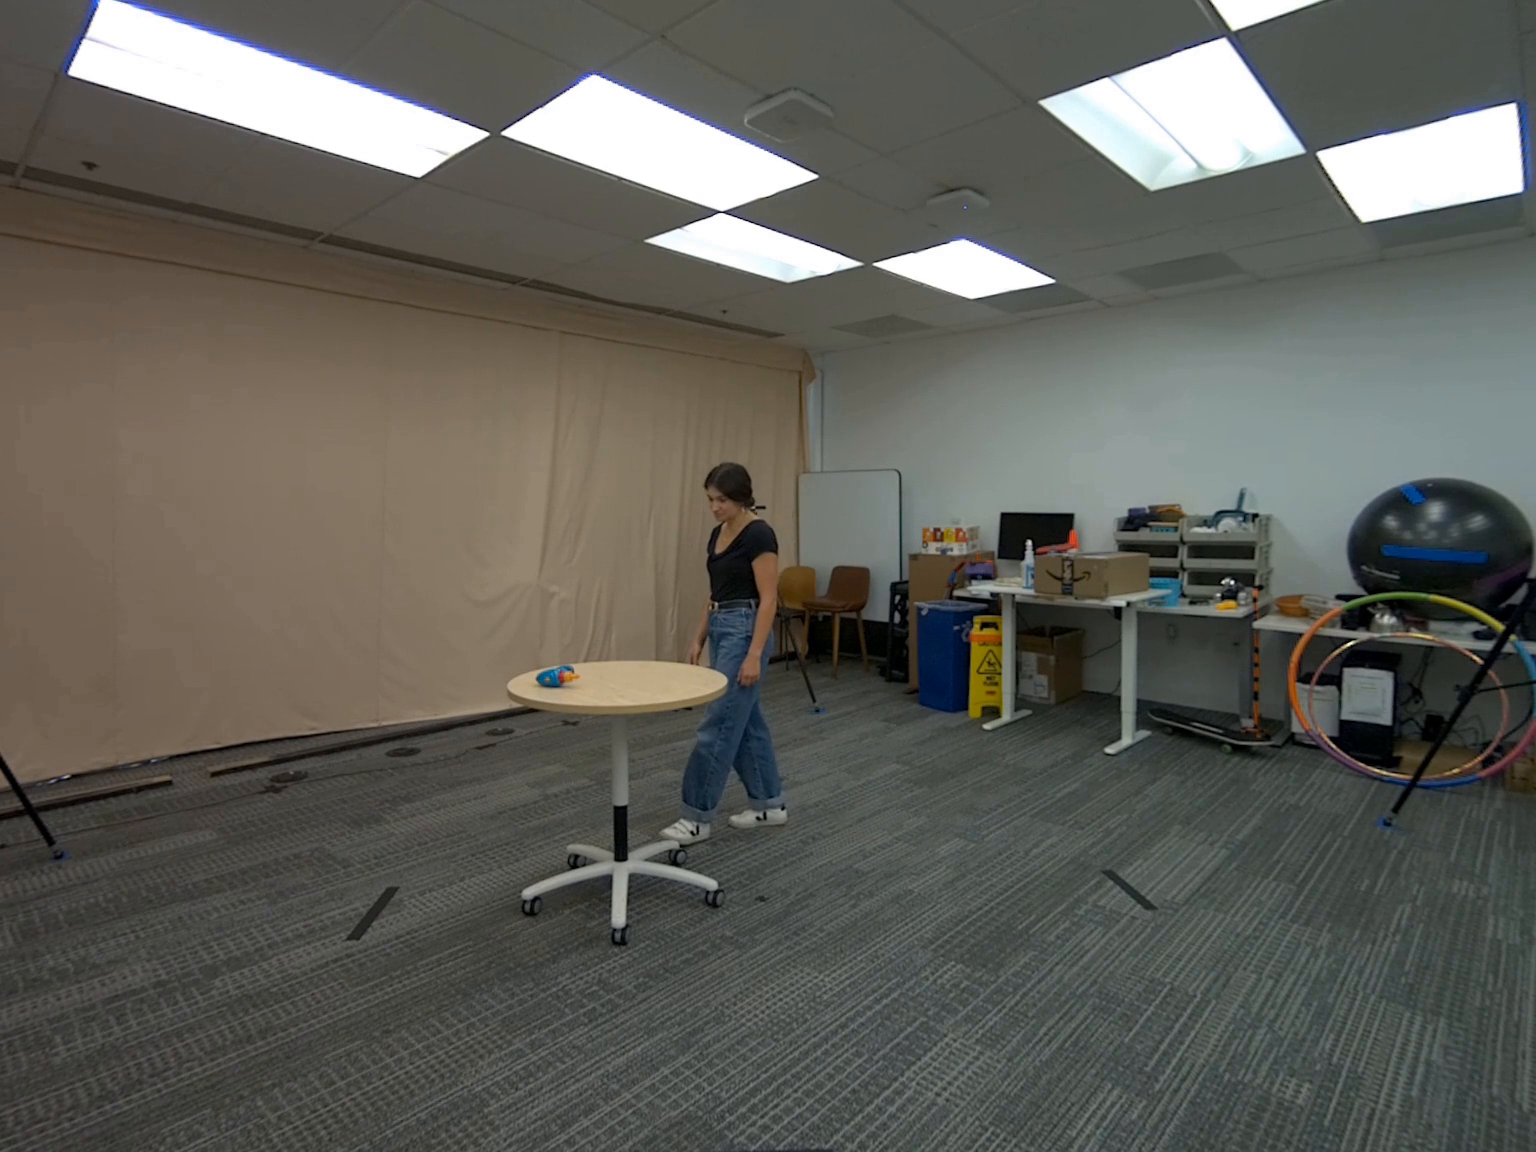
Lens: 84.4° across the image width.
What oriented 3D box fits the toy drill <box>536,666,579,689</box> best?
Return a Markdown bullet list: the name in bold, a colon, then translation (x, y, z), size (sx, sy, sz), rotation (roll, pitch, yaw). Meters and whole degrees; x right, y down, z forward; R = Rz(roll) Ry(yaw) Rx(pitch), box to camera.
- **toy drill**: translation (-0.703, 0.346, 2.878), size (0.173, 0.061, 0.143), rotation (-6, 0, 18)
